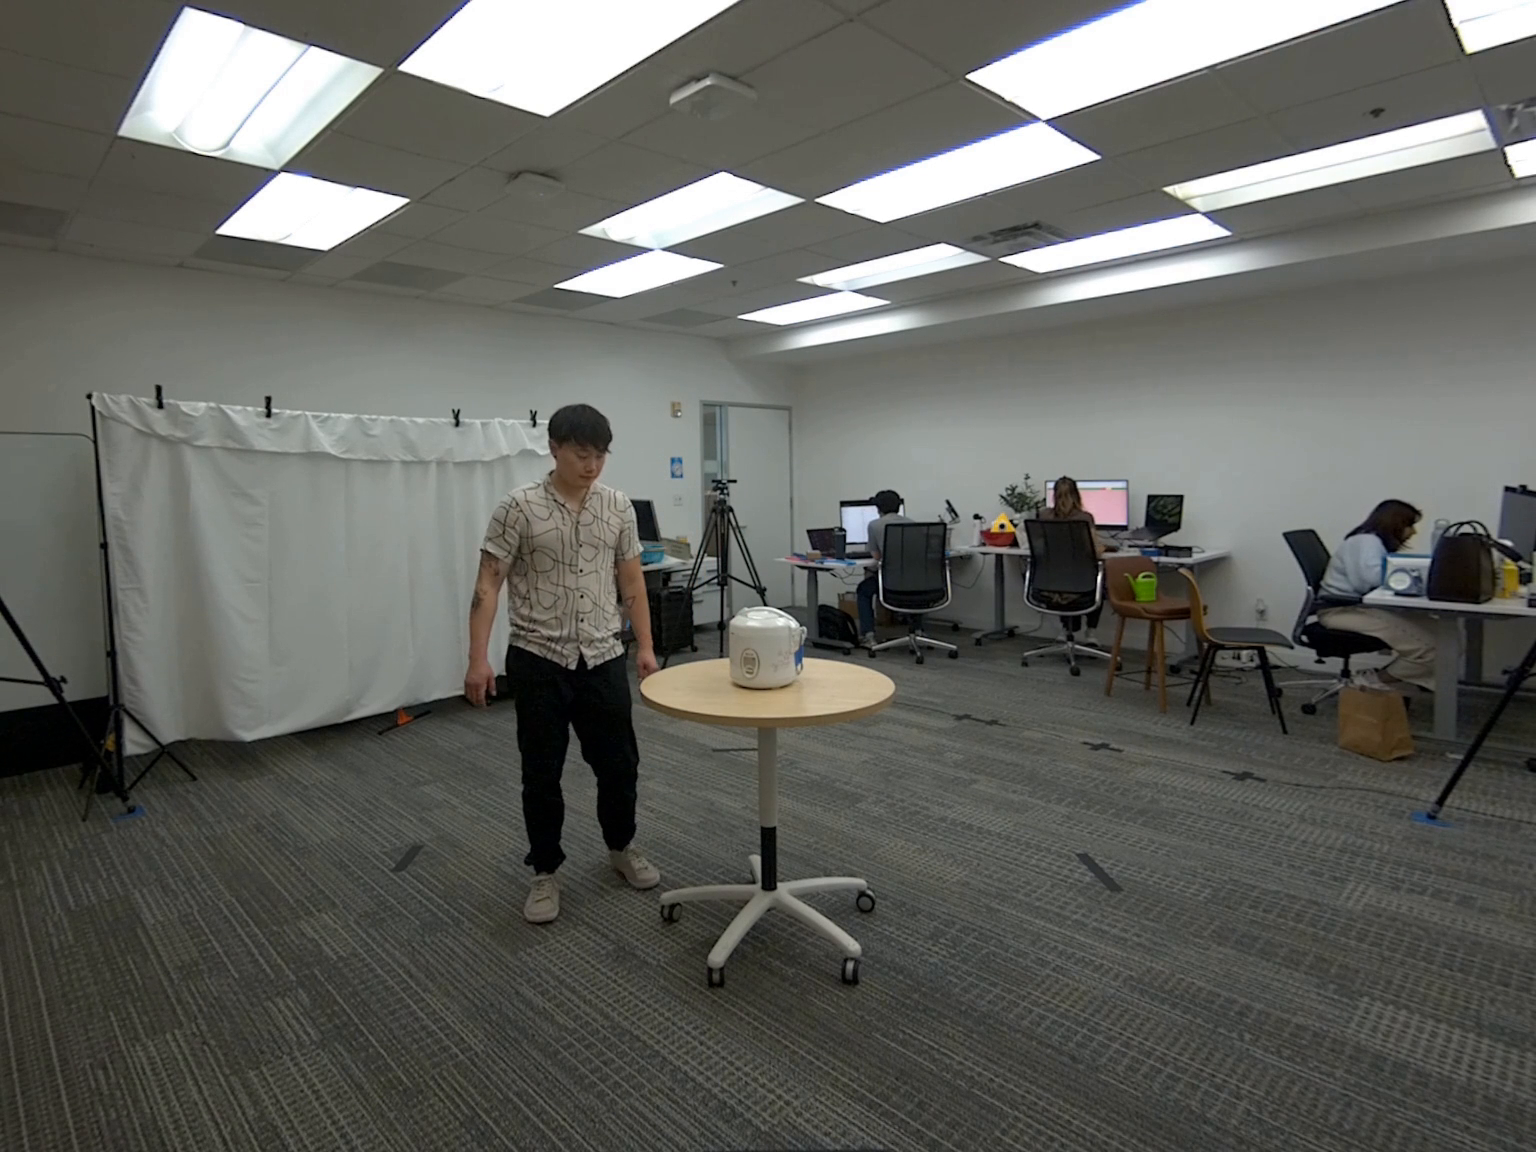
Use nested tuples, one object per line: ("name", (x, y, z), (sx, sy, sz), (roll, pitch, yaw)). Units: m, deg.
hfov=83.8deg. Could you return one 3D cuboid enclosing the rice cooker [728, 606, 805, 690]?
("rice cooker", (-0.010, 0.208, 2.582), (0.225, 0.232, 0.213), (1, 4, 23))
